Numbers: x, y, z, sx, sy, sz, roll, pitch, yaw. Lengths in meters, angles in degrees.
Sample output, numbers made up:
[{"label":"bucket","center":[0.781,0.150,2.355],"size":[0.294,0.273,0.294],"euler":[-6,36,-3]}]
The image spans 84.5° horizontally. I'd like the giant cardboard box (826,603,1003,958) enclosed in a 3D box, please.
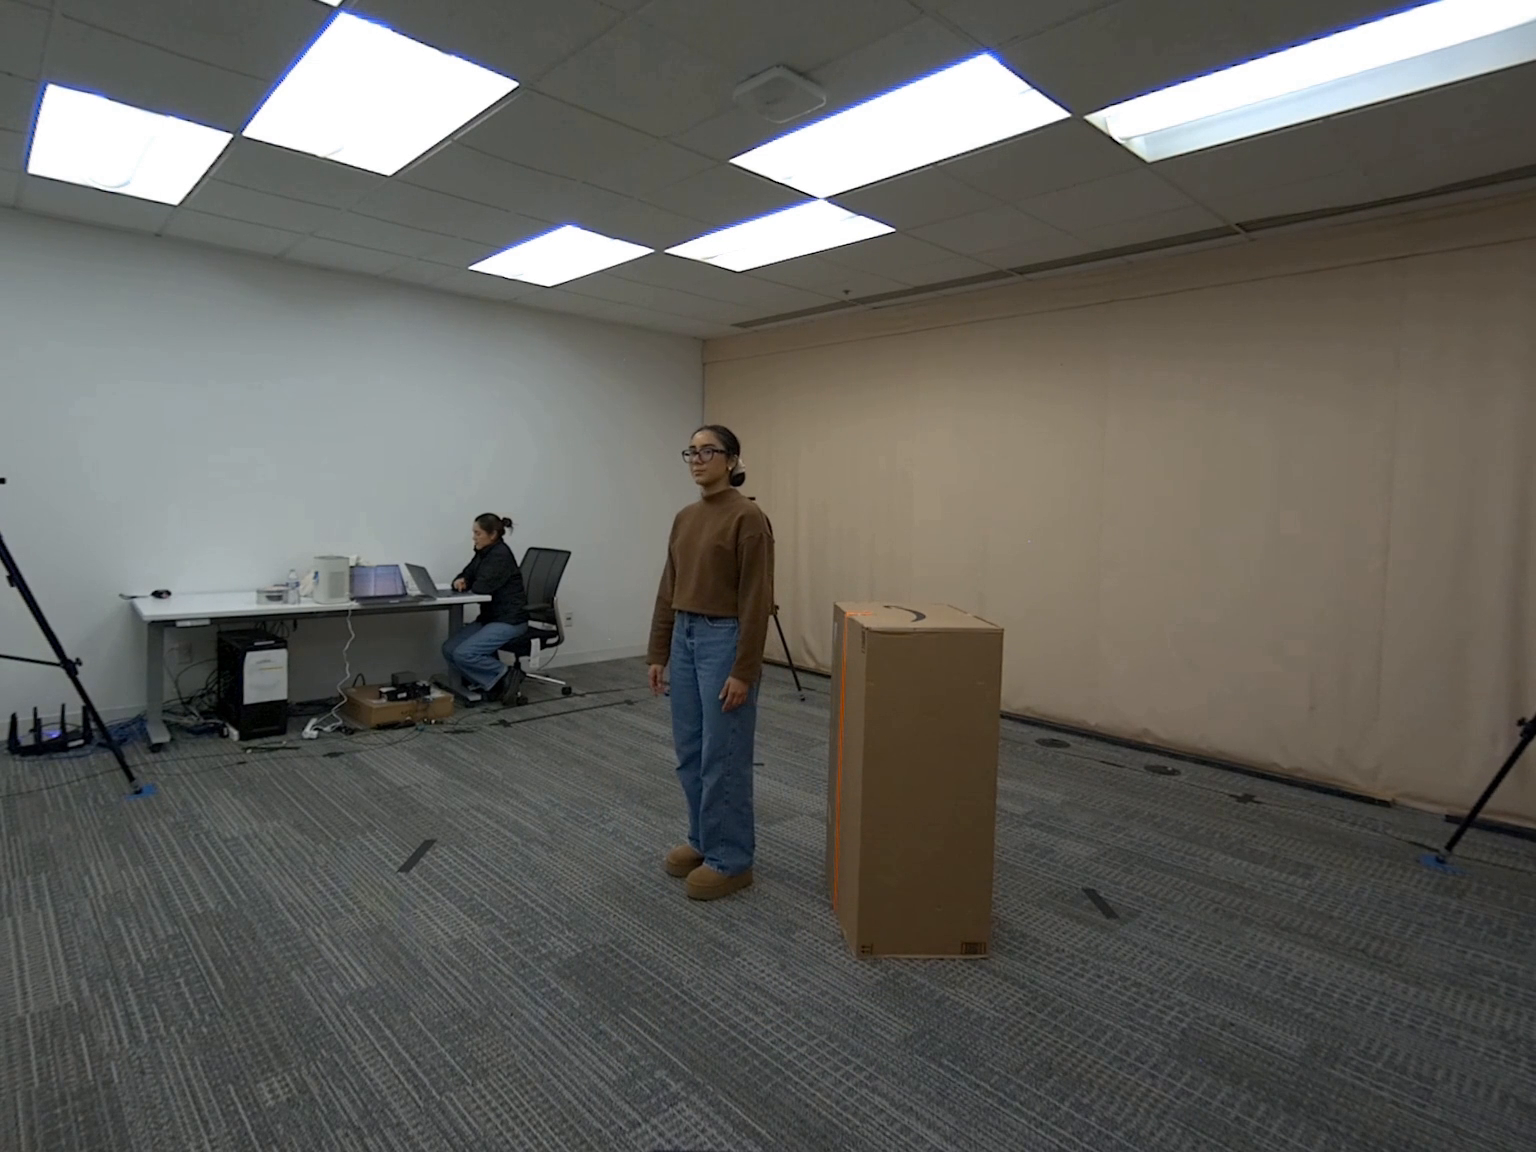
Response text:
[{"label":"giant cardboard box","center":[0.456,0.634,2.813],"size":[0.425,1.023,0.581],"euler":[1,3,-5]}]
